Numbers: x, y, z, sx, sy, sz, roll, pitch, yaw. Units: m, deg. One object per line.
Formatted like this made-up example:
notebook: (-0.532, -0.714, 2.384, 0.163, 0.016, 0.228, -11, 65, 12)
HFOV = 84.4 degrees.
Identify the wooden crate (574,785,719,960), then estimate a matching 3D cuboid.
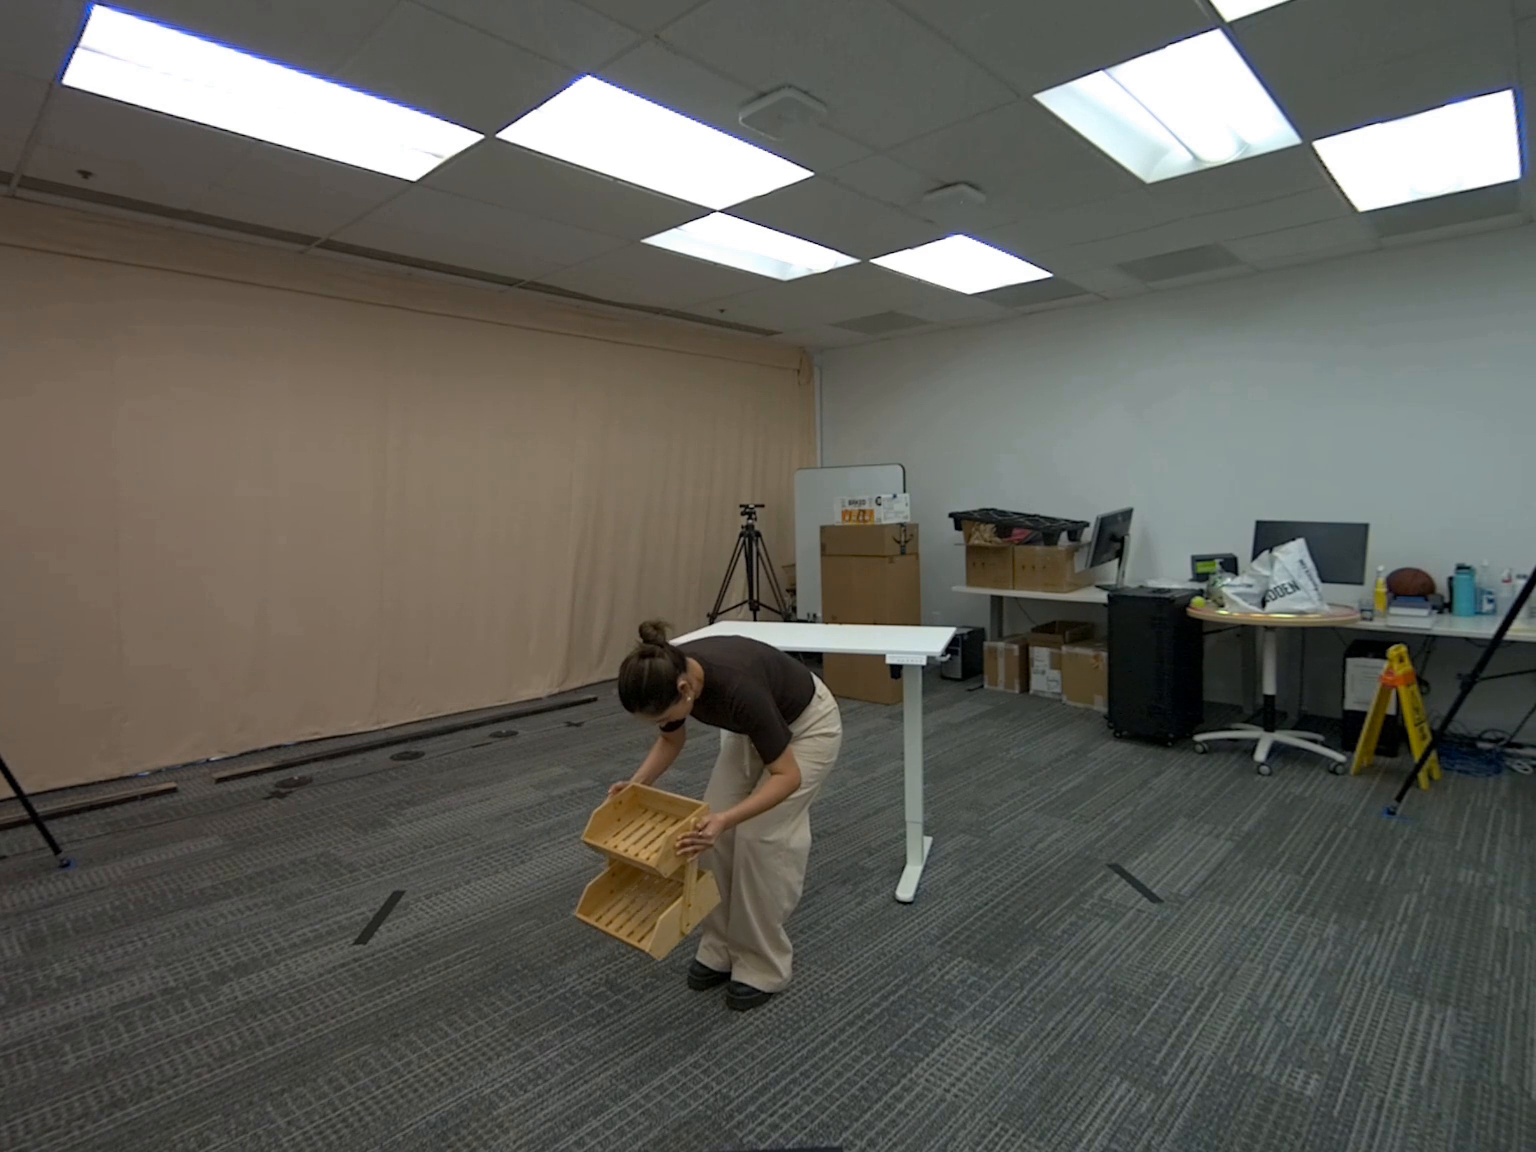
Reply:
wooden crate: (-0.326, 0.754, 2.167, 0.335, 0.270, 0.296, 0, 21, 41)
